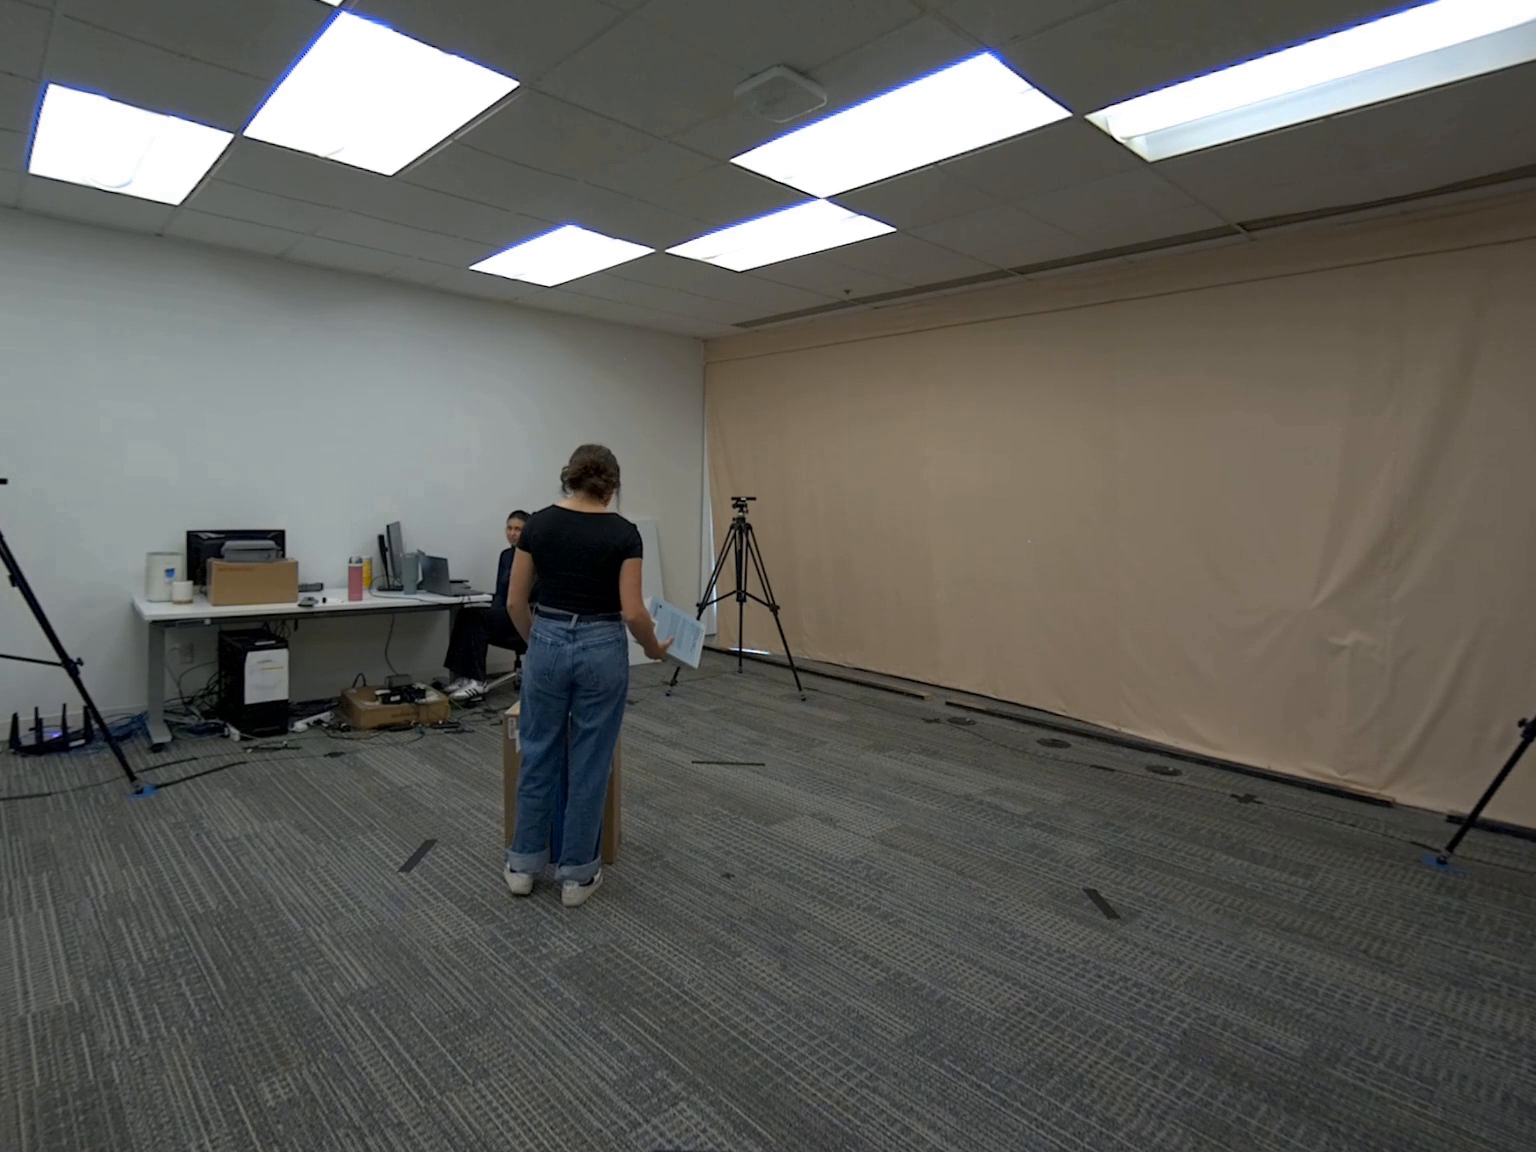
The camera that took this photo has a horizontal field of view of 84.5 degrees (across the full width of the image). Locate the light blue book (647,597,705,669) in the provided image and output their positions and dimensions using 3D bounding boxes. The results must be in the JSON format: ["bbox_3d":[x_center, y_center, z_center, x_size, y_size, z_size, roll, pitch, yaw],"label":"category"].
[{"bbox_3d":[-0.368,0.212,3.109,0.254,0.194,0.059,33,-40,-29],"label":"light blue book"}]
